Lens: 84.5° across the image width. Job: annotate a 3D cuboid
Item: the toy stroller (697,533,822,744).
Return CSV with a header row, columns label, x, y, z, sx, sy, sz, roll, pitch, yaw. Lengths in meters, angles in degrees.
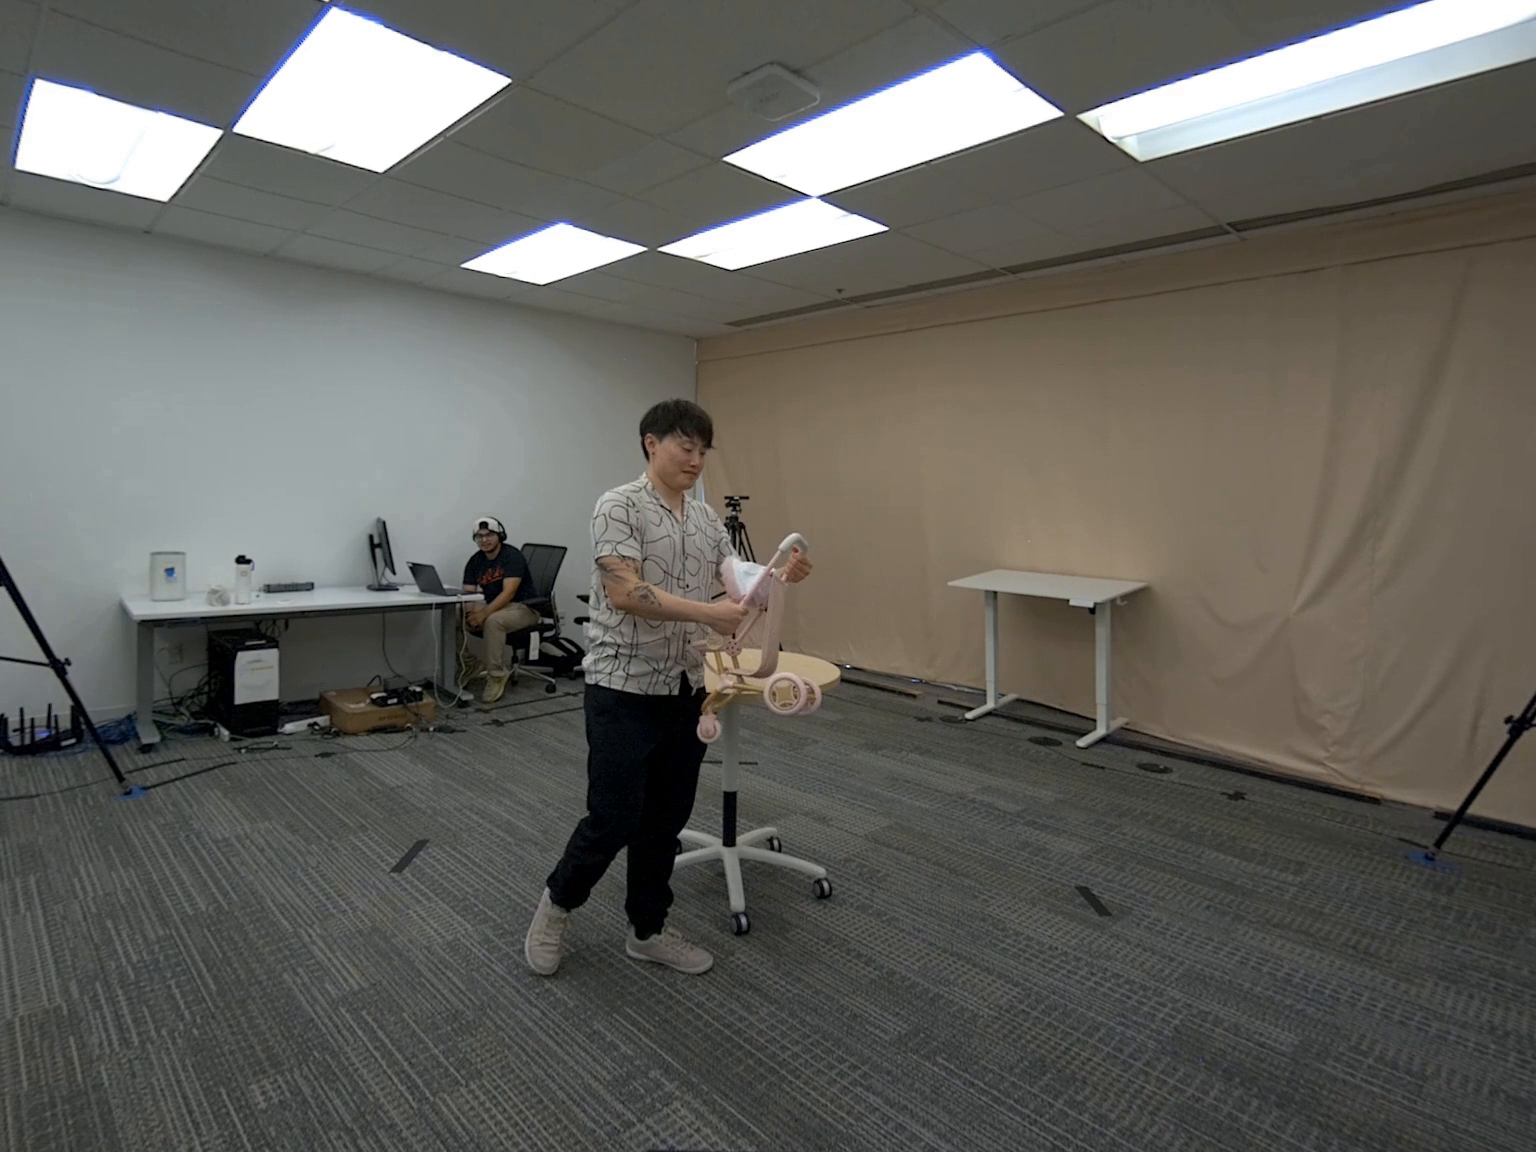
label,x,y,z,sx,sy,sz,roll,pitch,yaw
toy stroller,-0.051,0.173,2.287,0.345,0.541,0.275,-7,-15,16
